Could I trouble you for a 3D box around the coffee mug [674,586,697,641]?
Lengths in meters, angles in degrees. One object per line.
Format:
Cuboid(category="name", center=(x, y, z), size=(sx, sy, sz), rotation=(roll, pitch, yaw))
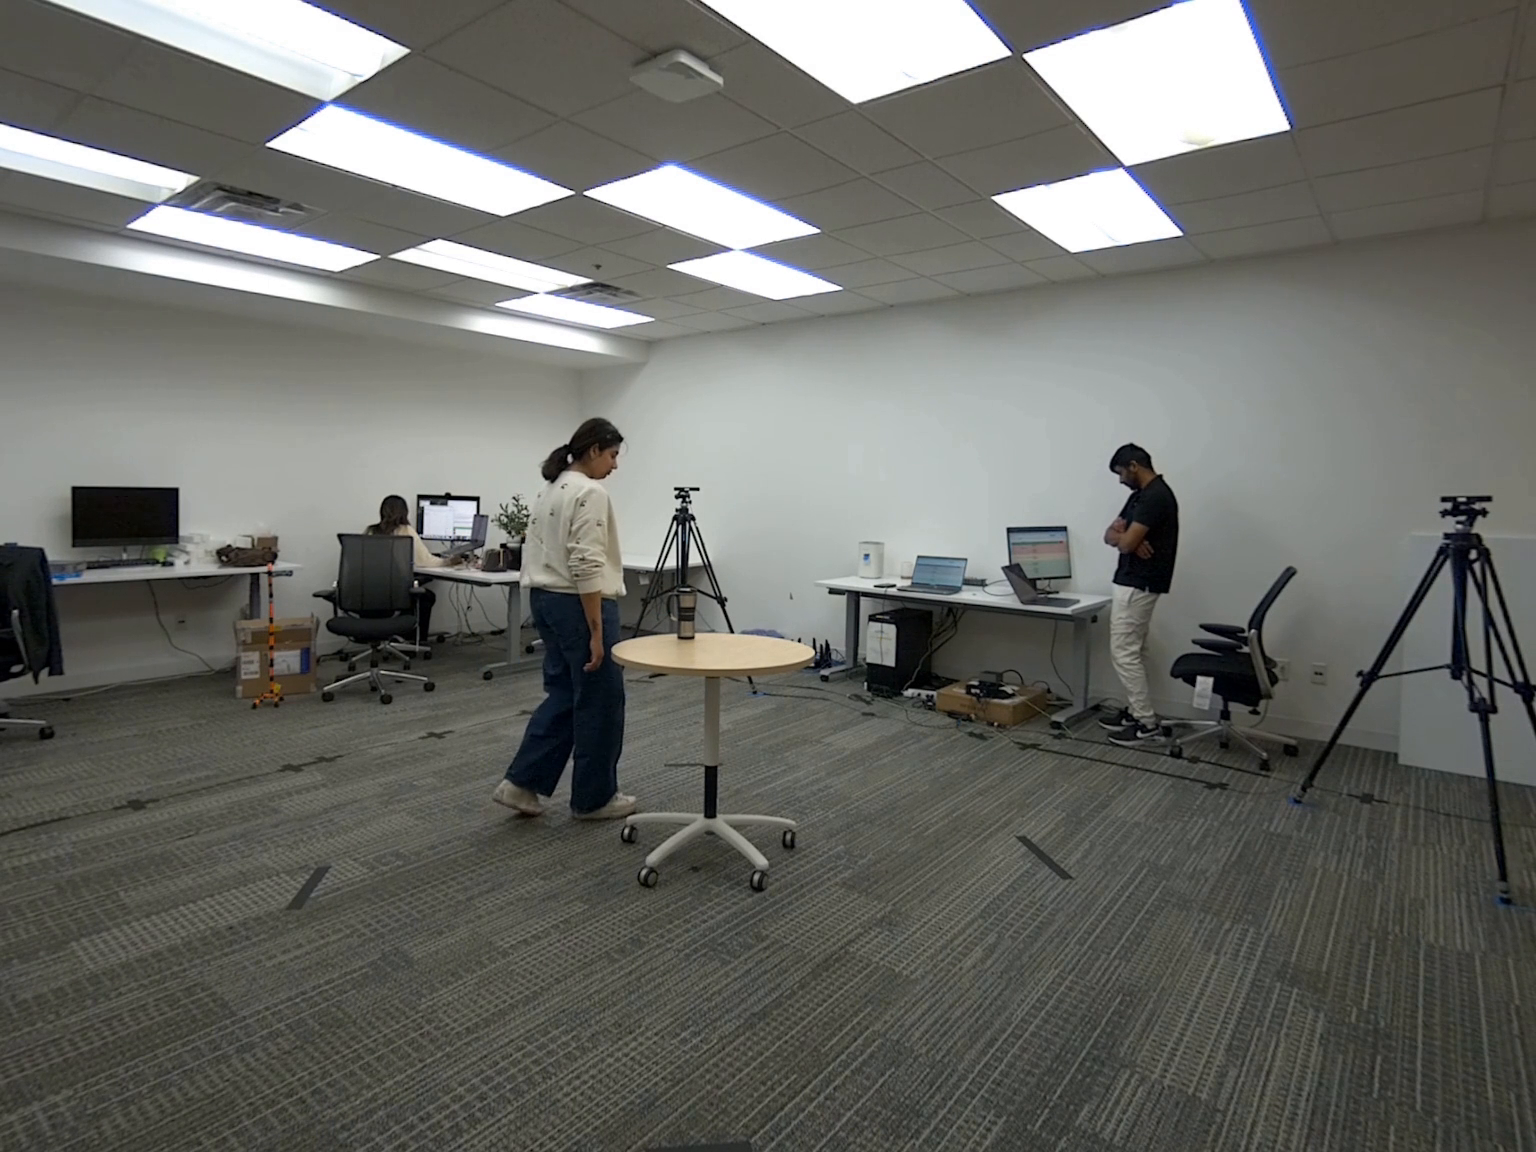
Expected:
Cuboid(category="coffee mug", center=(-0.357, 0.150, 3.453), size=(0.126, 0.201, 0.085), rotation=(7, 12, 42))
